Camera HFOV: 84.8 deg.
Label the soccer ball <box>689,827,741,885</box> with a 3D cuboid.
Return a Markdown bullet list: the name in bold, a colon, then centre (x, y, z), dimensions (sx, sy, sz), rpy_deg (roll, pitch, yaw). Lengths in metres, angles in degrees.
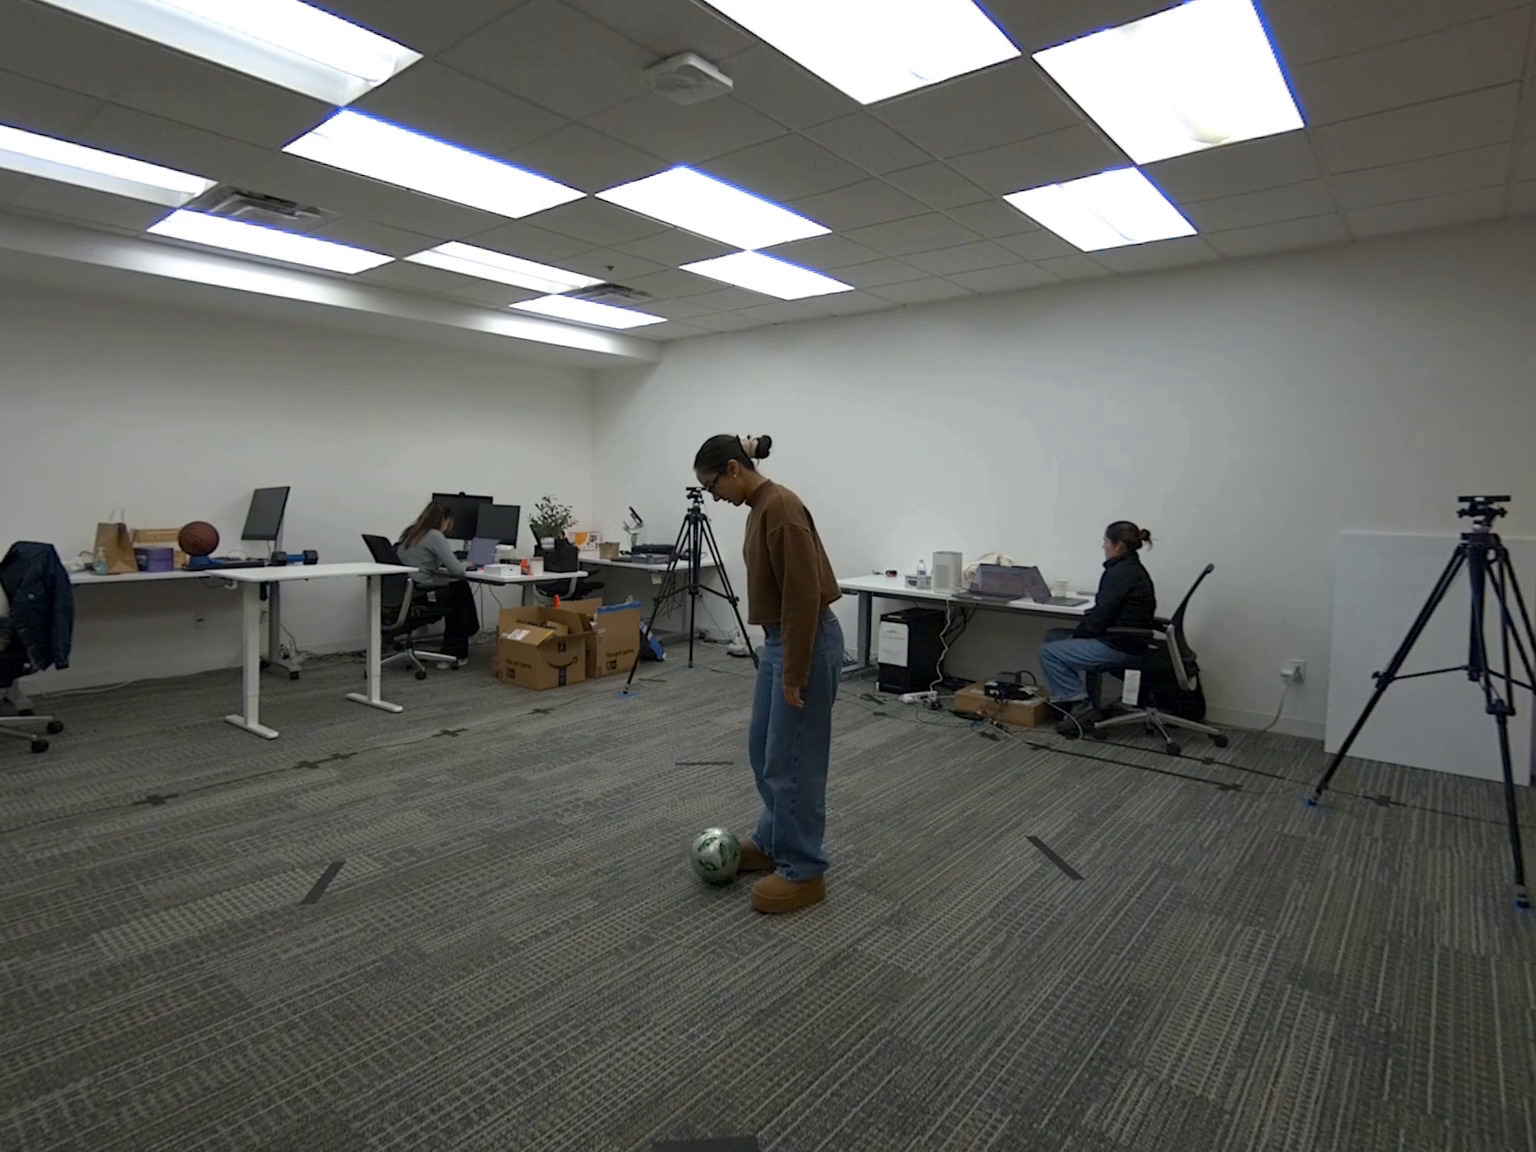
- **soccer ball**: centre (-0.193, 0.984, 3.004), dimensions (0.187, 0.187, 0.188), rpy_deg (1, 4, -2)
